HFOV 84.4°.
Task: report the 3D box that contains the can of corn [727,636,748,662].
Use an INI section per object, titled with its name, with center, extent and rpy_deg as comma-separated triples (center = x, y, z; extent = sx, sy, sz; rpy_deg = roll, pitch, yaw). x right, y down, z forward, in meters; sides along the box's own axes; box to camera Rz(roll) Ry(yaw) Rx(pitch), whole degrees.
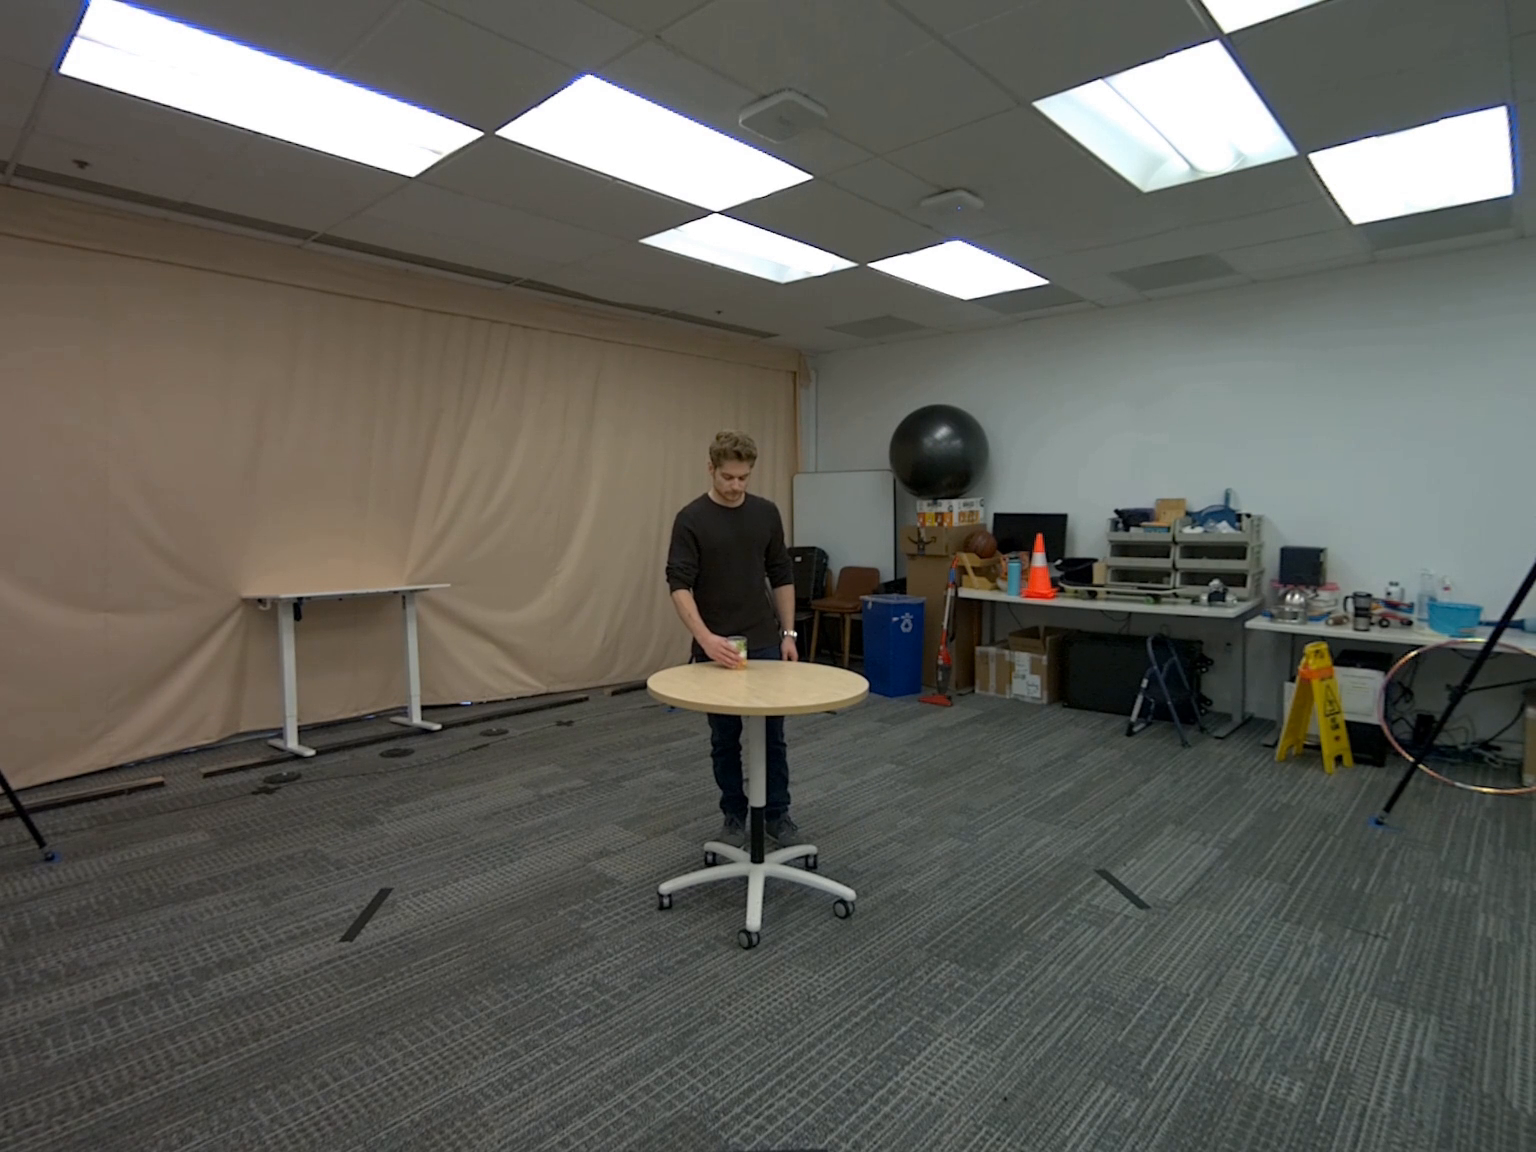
[can of corn]
center = -0.118, 0.289, 3.151
extent = 0.074, 0.110, 0.074
rpy_deg = -6, 5, -1
